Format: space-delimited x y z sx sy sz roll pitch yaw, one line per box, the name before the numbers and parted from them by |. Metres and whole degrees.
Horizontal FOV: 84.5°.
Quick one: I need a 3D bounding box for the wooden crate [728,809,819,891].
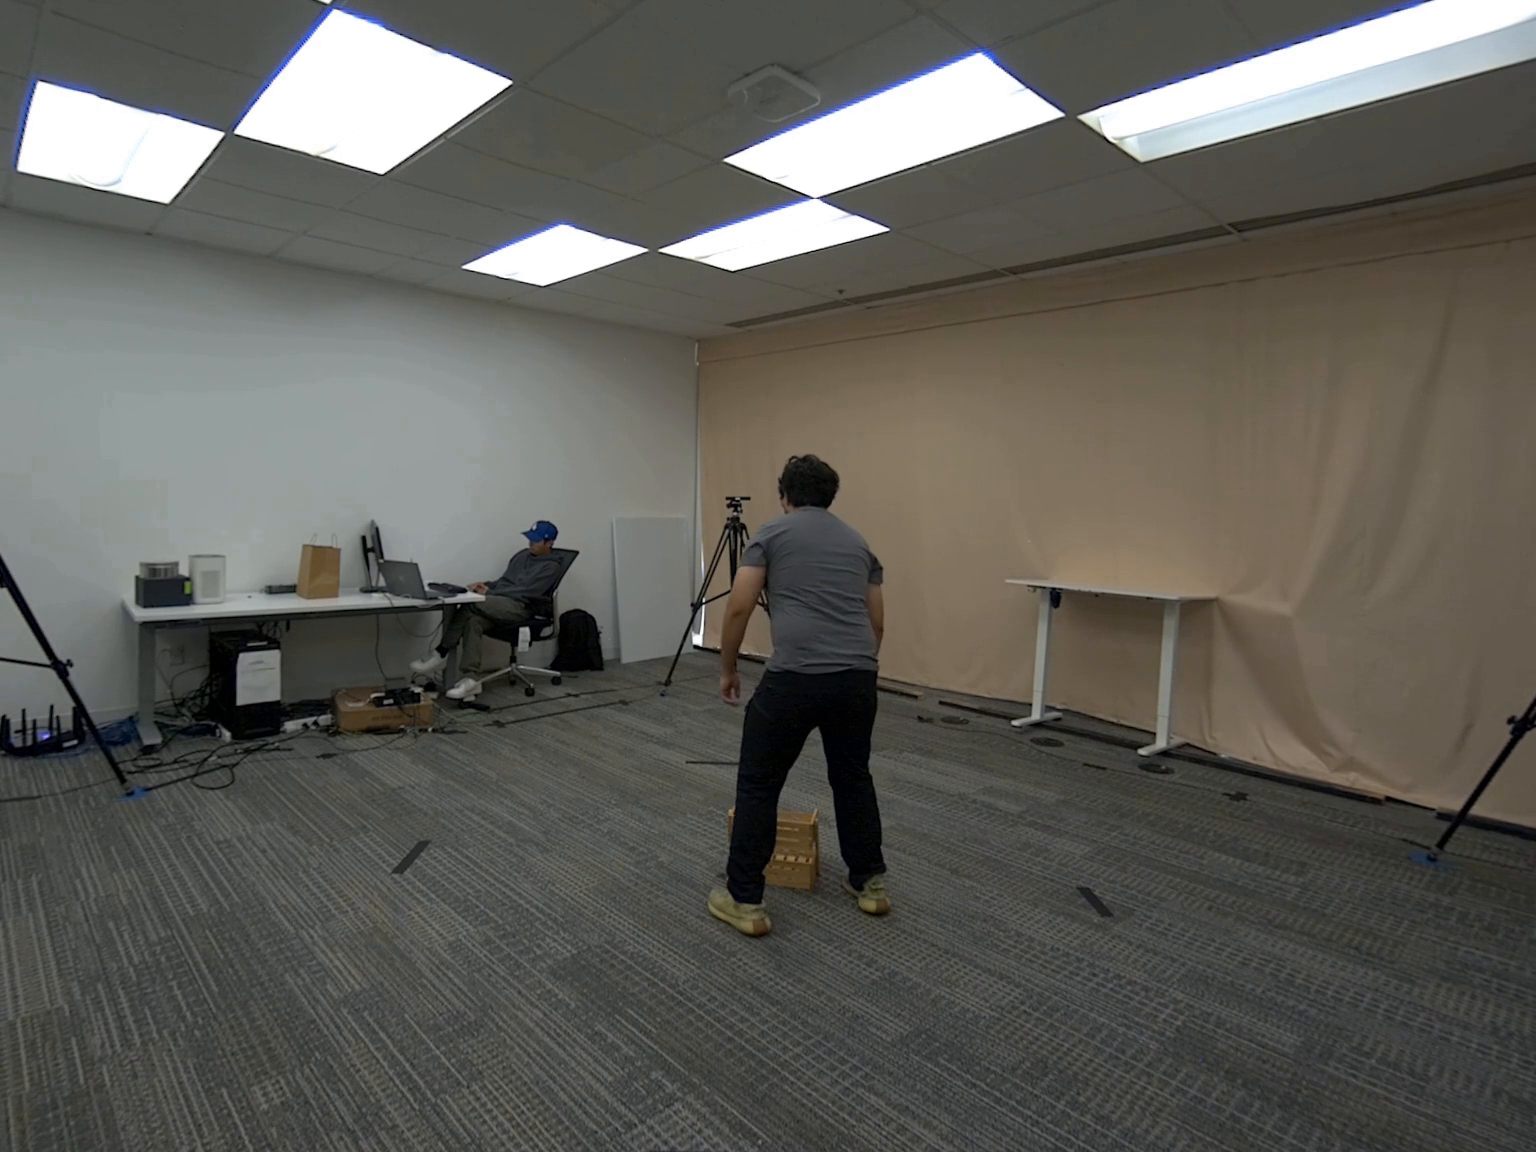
wooden crate | 0.024 0.977 3.130 0.327 0.272 0.300 2 4 11
